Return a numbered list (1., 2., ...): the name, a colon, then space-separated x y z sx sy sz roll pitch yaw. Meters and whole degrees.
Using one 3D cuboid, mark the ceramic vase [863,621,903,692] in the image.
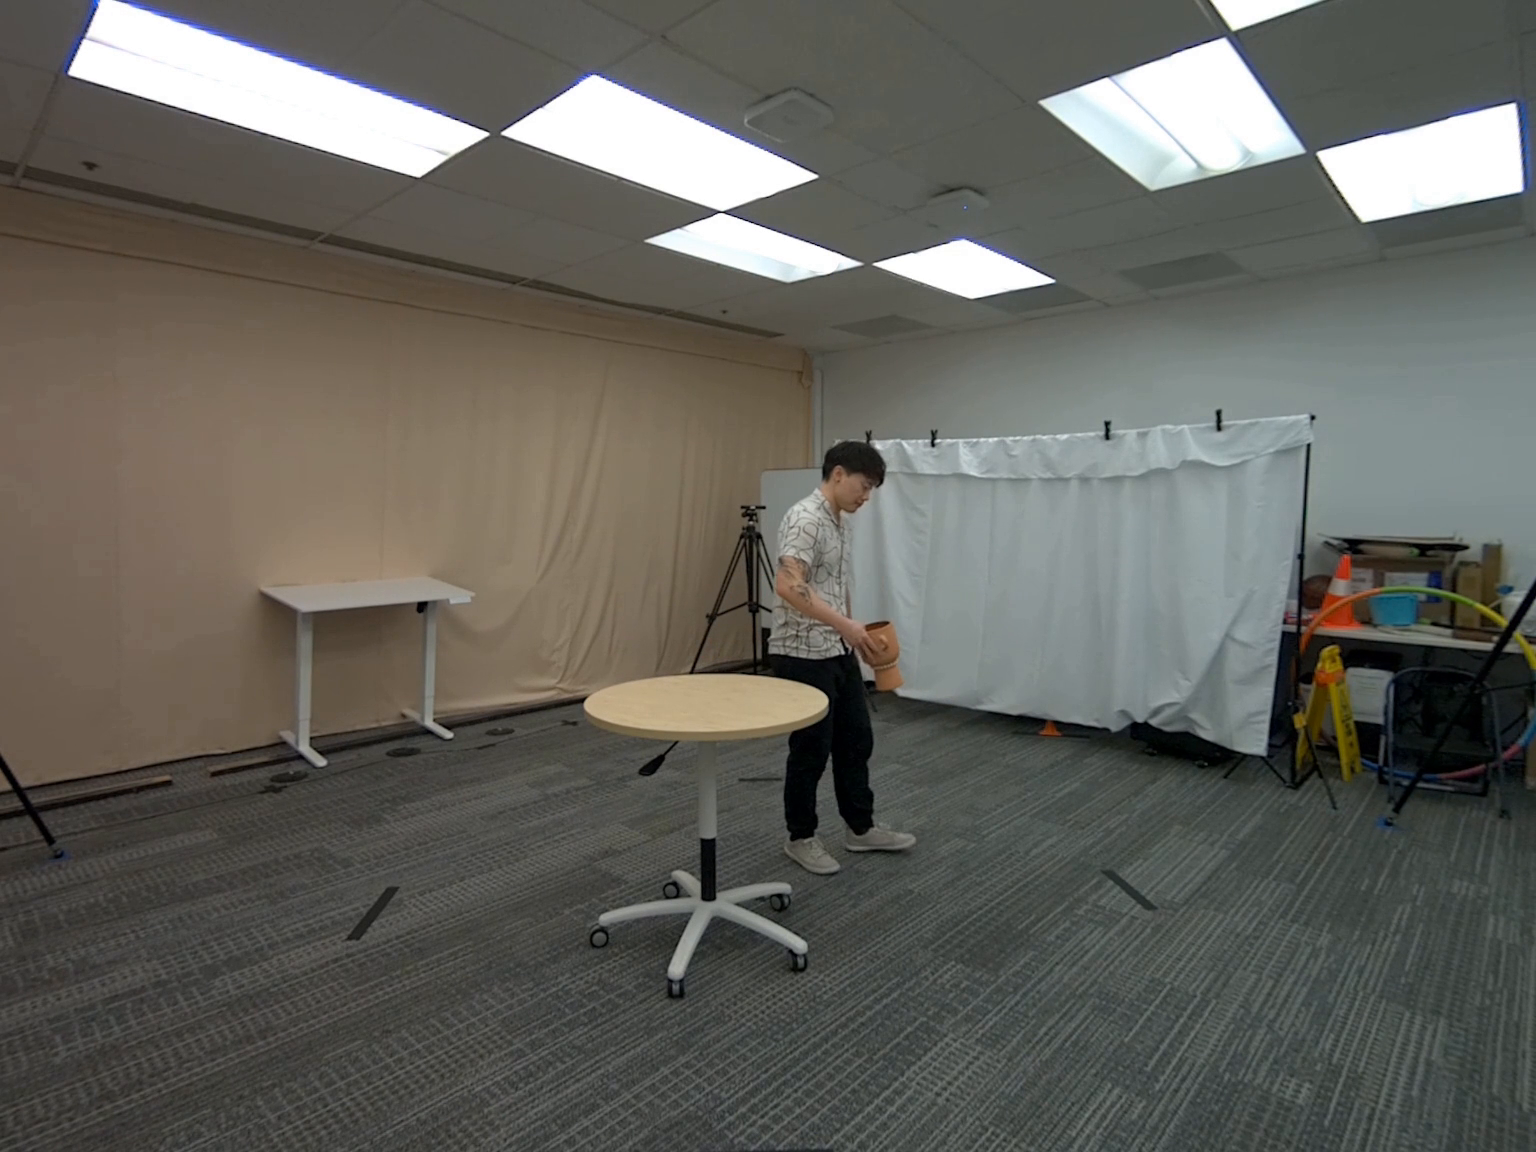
1. ceramic vase: 0.399 0.279 2.933 0.138 0.218 0.156 -12 7 30
